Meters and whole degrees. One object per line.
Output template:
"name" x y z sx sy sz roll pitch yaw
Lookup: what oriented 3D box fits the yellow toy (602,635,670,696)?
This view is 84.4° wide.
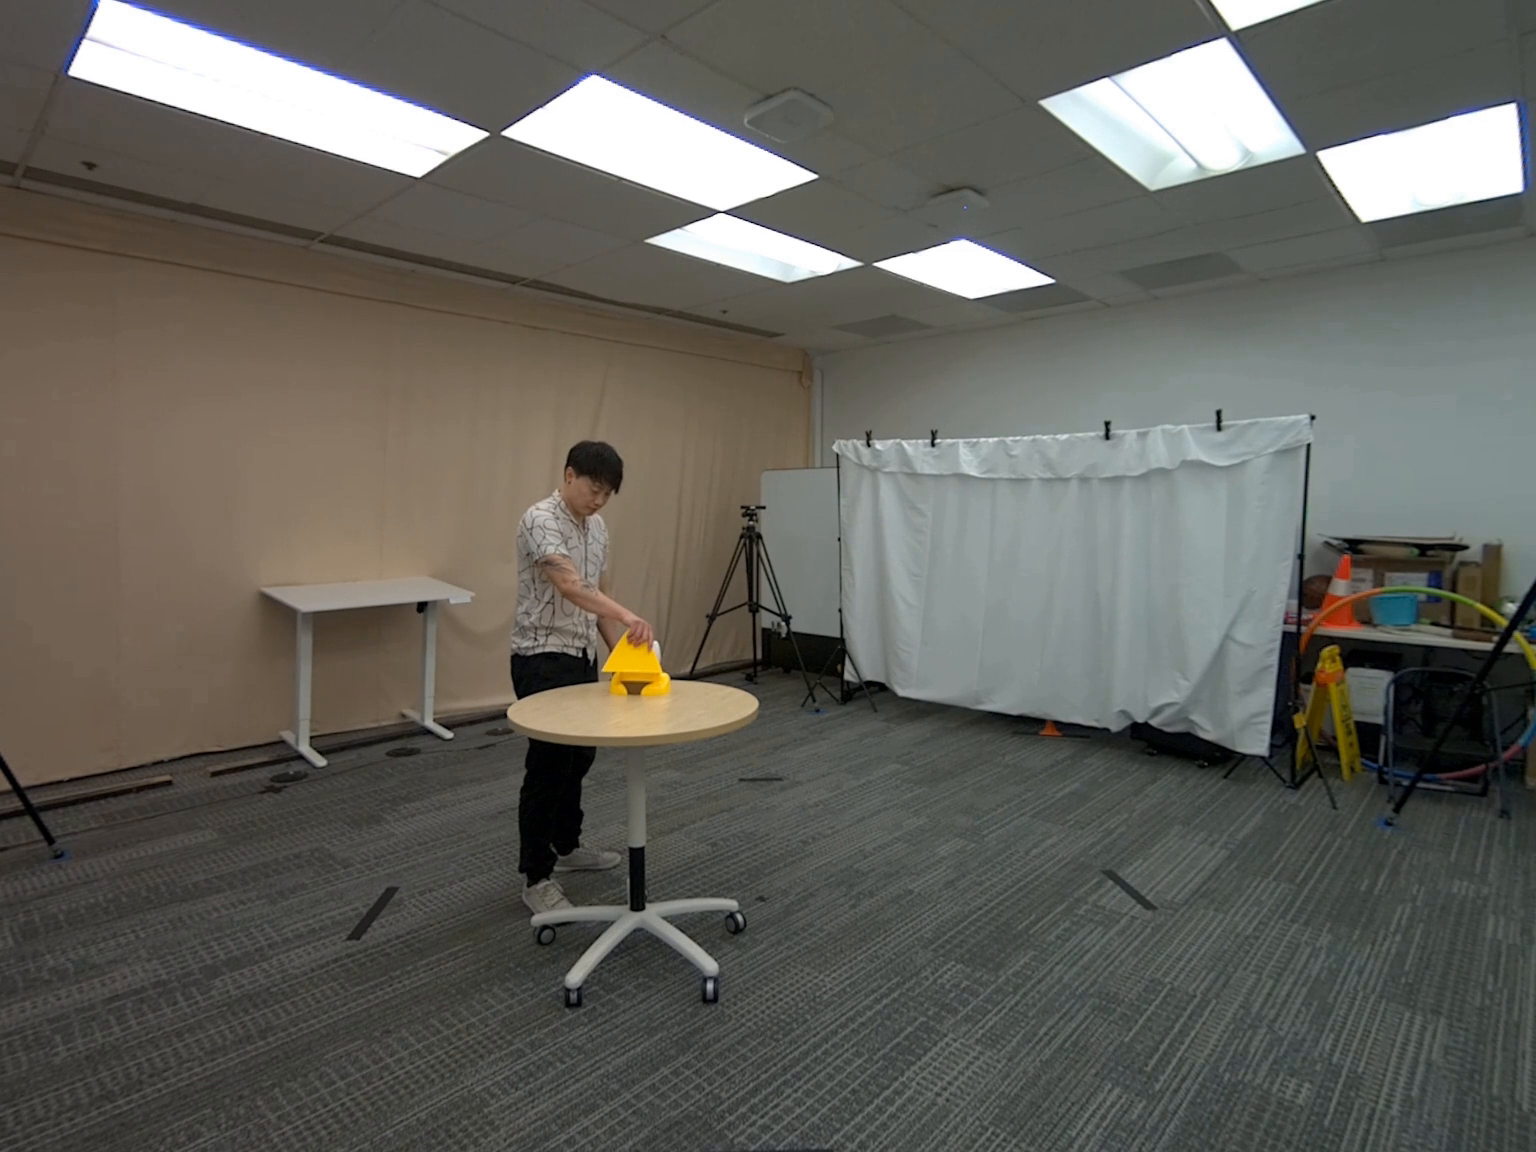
"yellow toy" -0.426 0.269 2.791 0.207 0.230 0.191 0 2 9
